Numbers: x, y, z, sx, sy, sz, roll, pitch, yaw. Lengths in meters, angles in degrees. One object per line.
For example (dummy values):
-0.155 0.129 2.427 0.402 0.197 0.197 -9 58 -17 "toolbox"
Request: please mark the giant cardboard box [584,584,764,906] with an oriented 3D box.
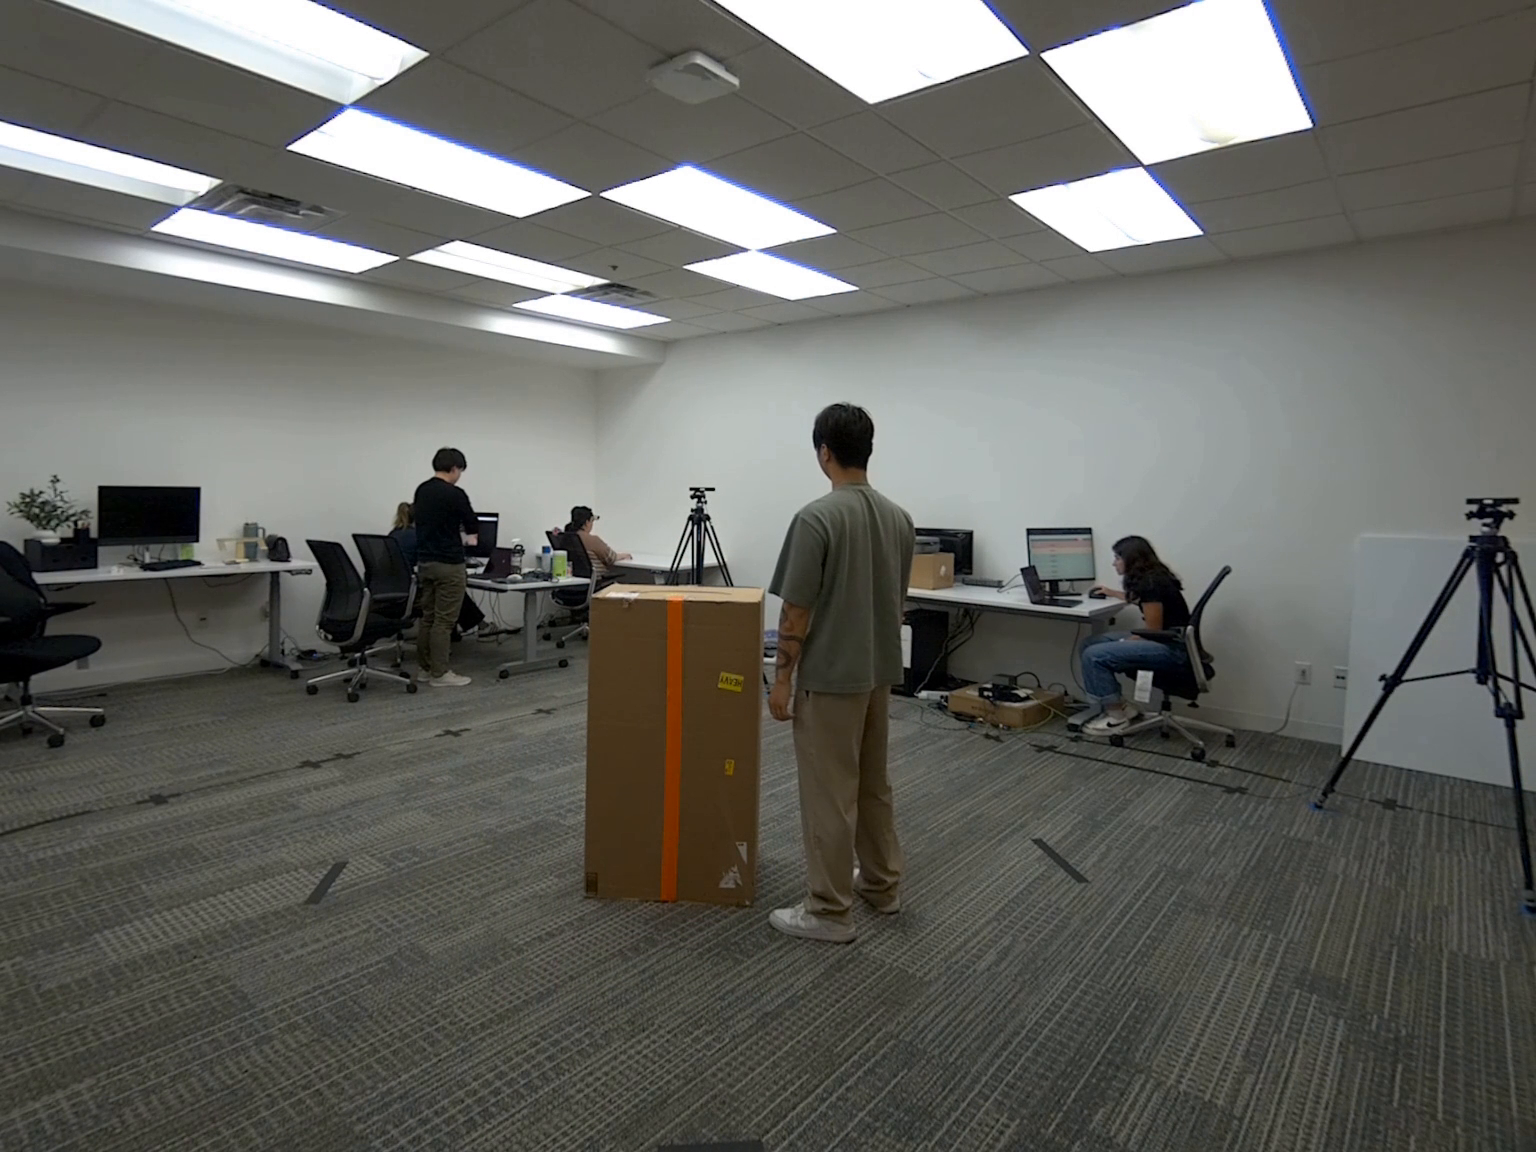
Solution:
-0.330 0.563 3.027 0.580 1.023 0.425 2 3 3 "giant cardboard box"
